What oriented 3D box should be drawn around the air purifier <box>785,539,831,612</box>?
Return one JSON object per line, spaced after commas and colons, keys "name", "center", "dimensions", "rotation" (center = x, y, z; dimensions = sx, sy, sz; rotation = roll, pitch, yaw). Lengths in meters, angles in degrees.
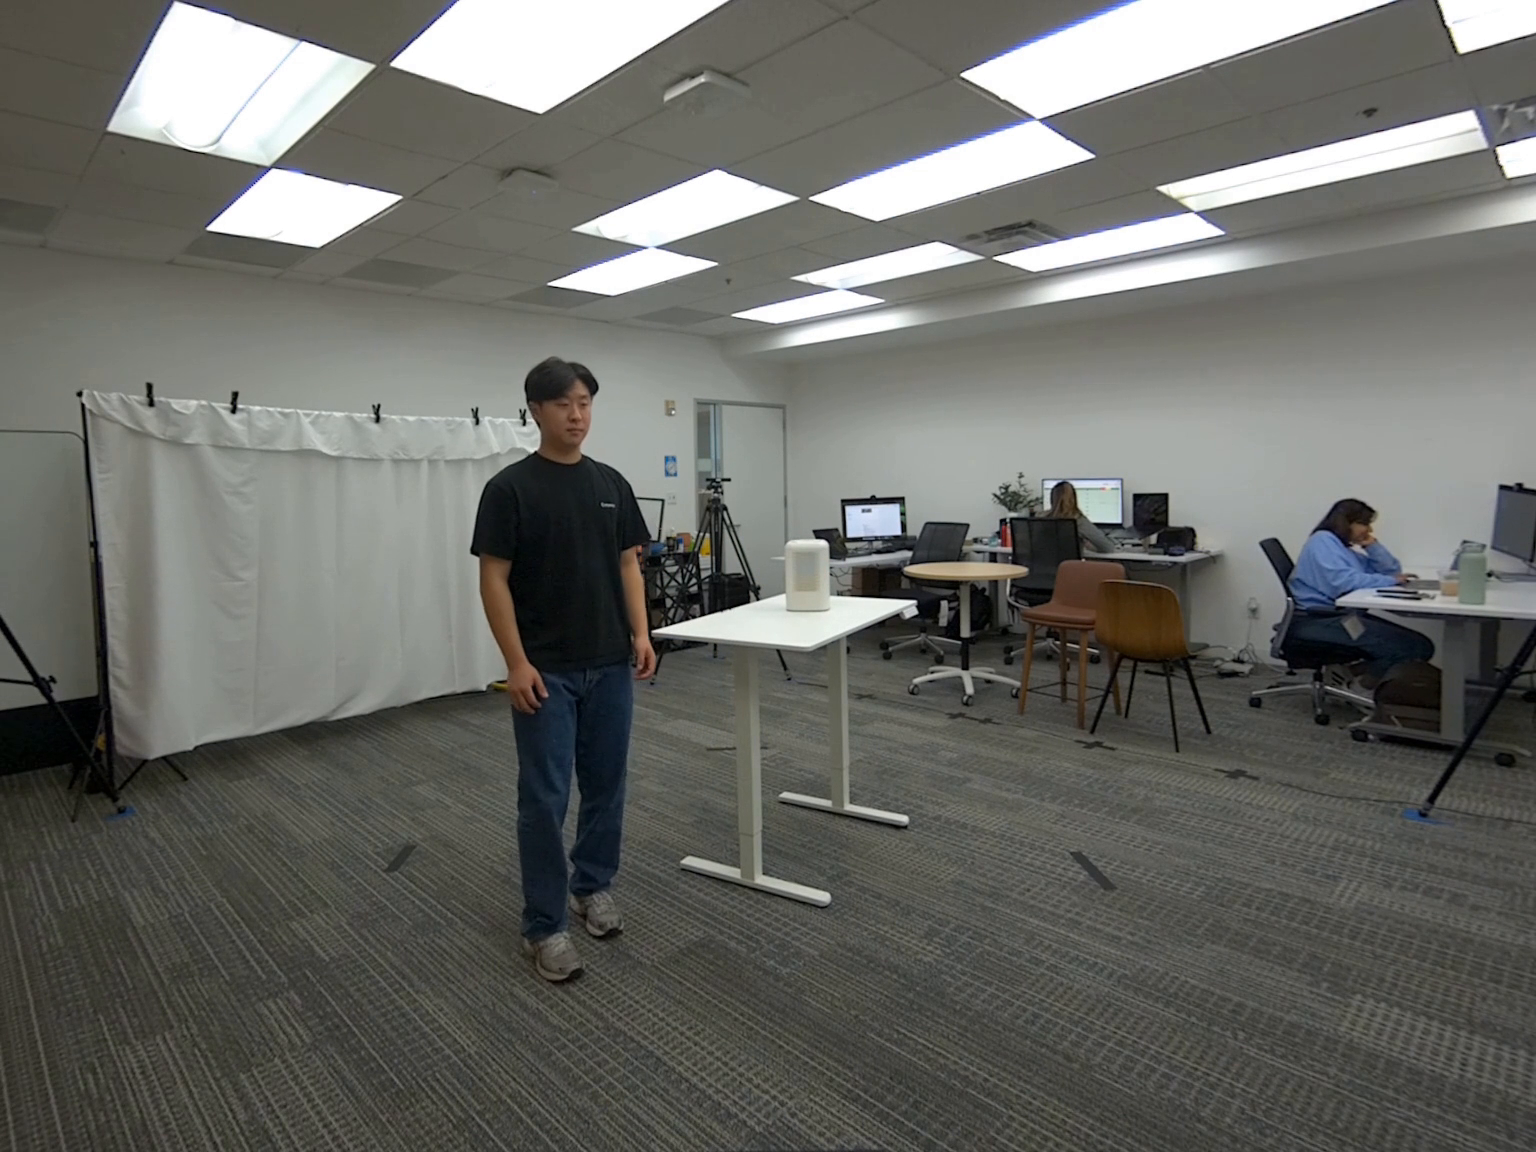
{"name": "air purifier", "center": [0.156, -0.006, 3.335], "dimensions": [0.173, 0.264, 0.170], "rotation": [-1, 4, 9]}
